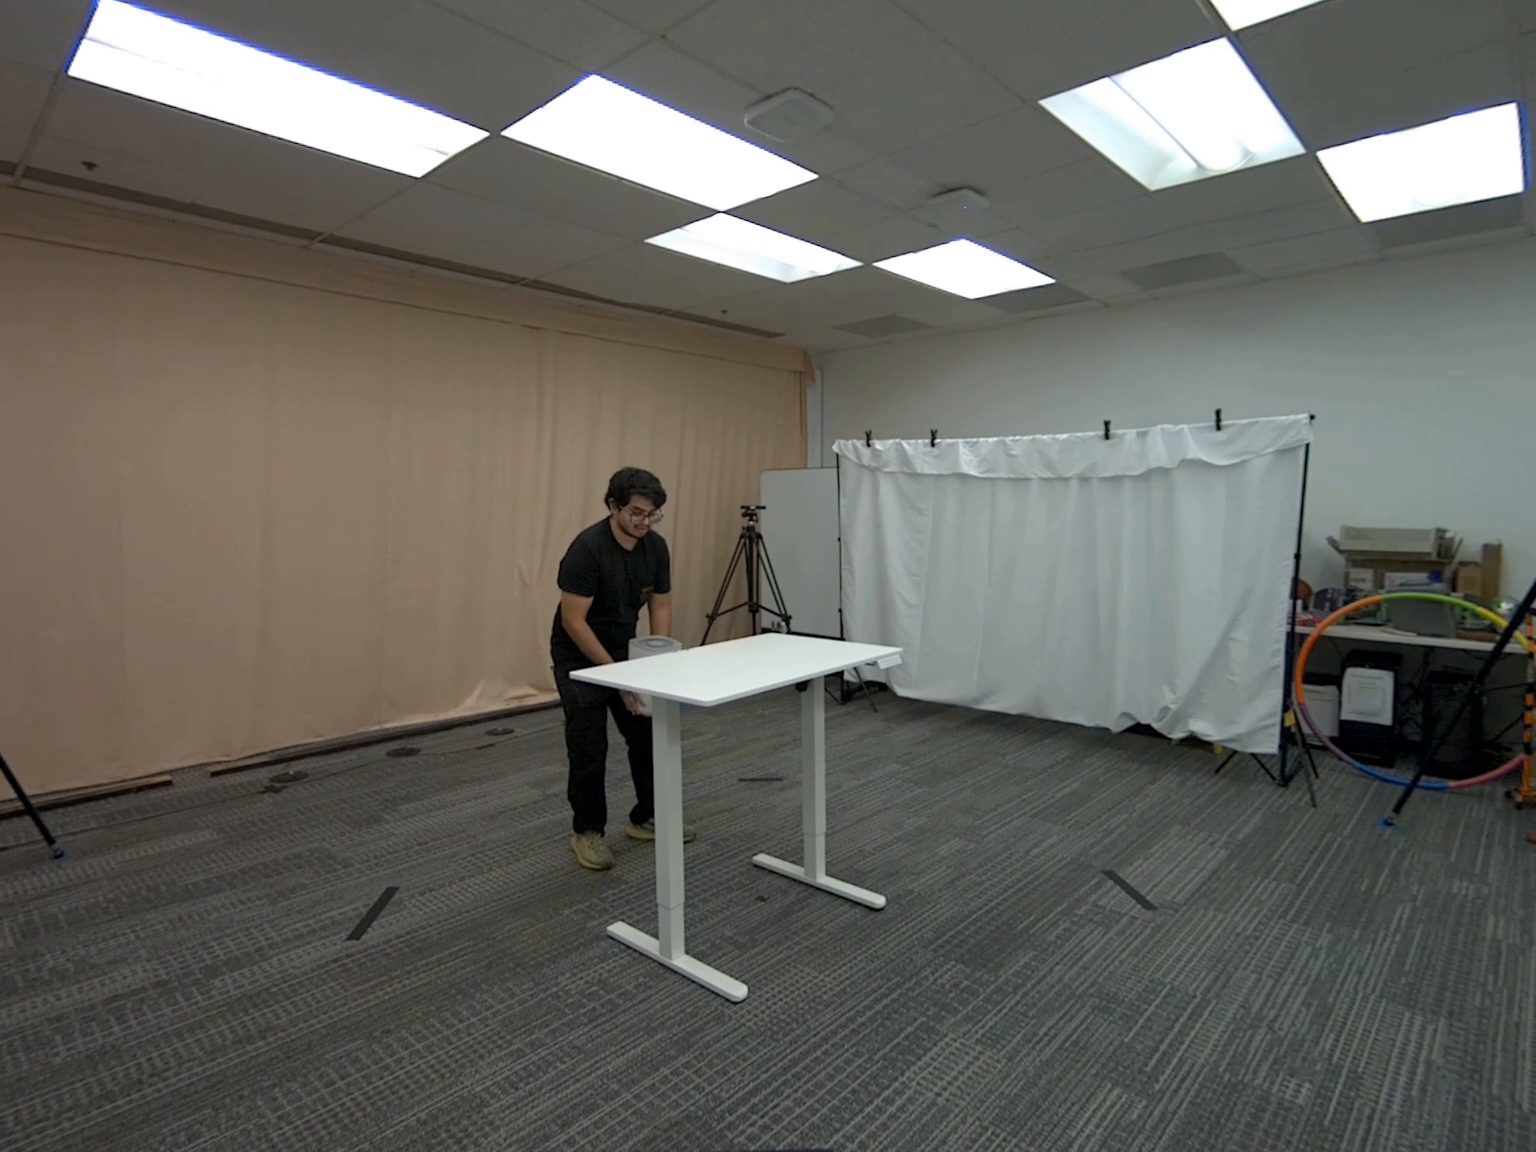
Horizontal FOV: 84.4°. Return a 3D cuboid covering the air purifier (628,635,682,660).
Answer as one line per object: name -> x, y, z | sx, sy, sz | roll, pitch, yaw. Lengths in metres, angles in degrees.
air purifier -> -0.451, 0.384, 3.184 | 0.178, 0.264, 0.166 | 13, 13, 40
